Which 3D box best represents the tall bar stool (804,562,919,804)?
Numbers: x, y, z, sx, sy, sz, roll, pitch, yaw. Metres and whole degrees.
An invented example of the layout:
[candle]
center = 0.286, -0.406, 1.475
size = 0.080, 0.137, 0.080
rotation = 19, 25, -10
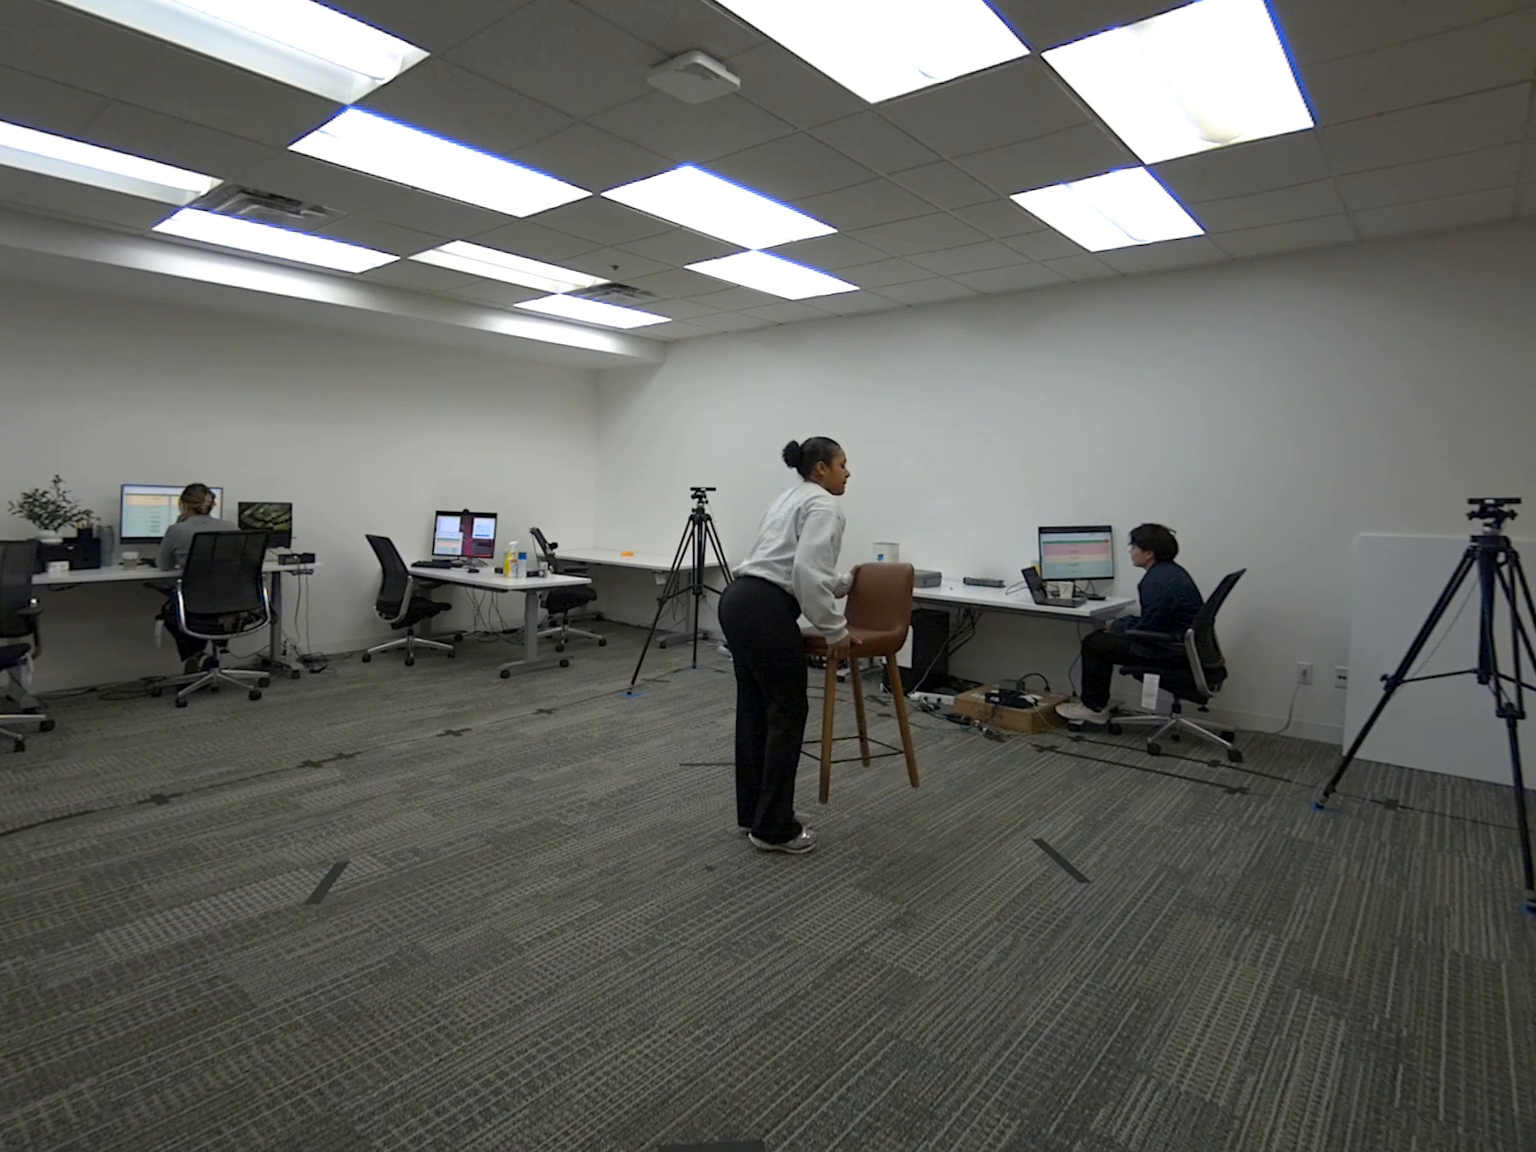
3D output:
[tall bar stool]
center = 0.304, 0.405, 3.405
size = 0.456, 0.891, 0.467
rotation = 0, -1, -26
